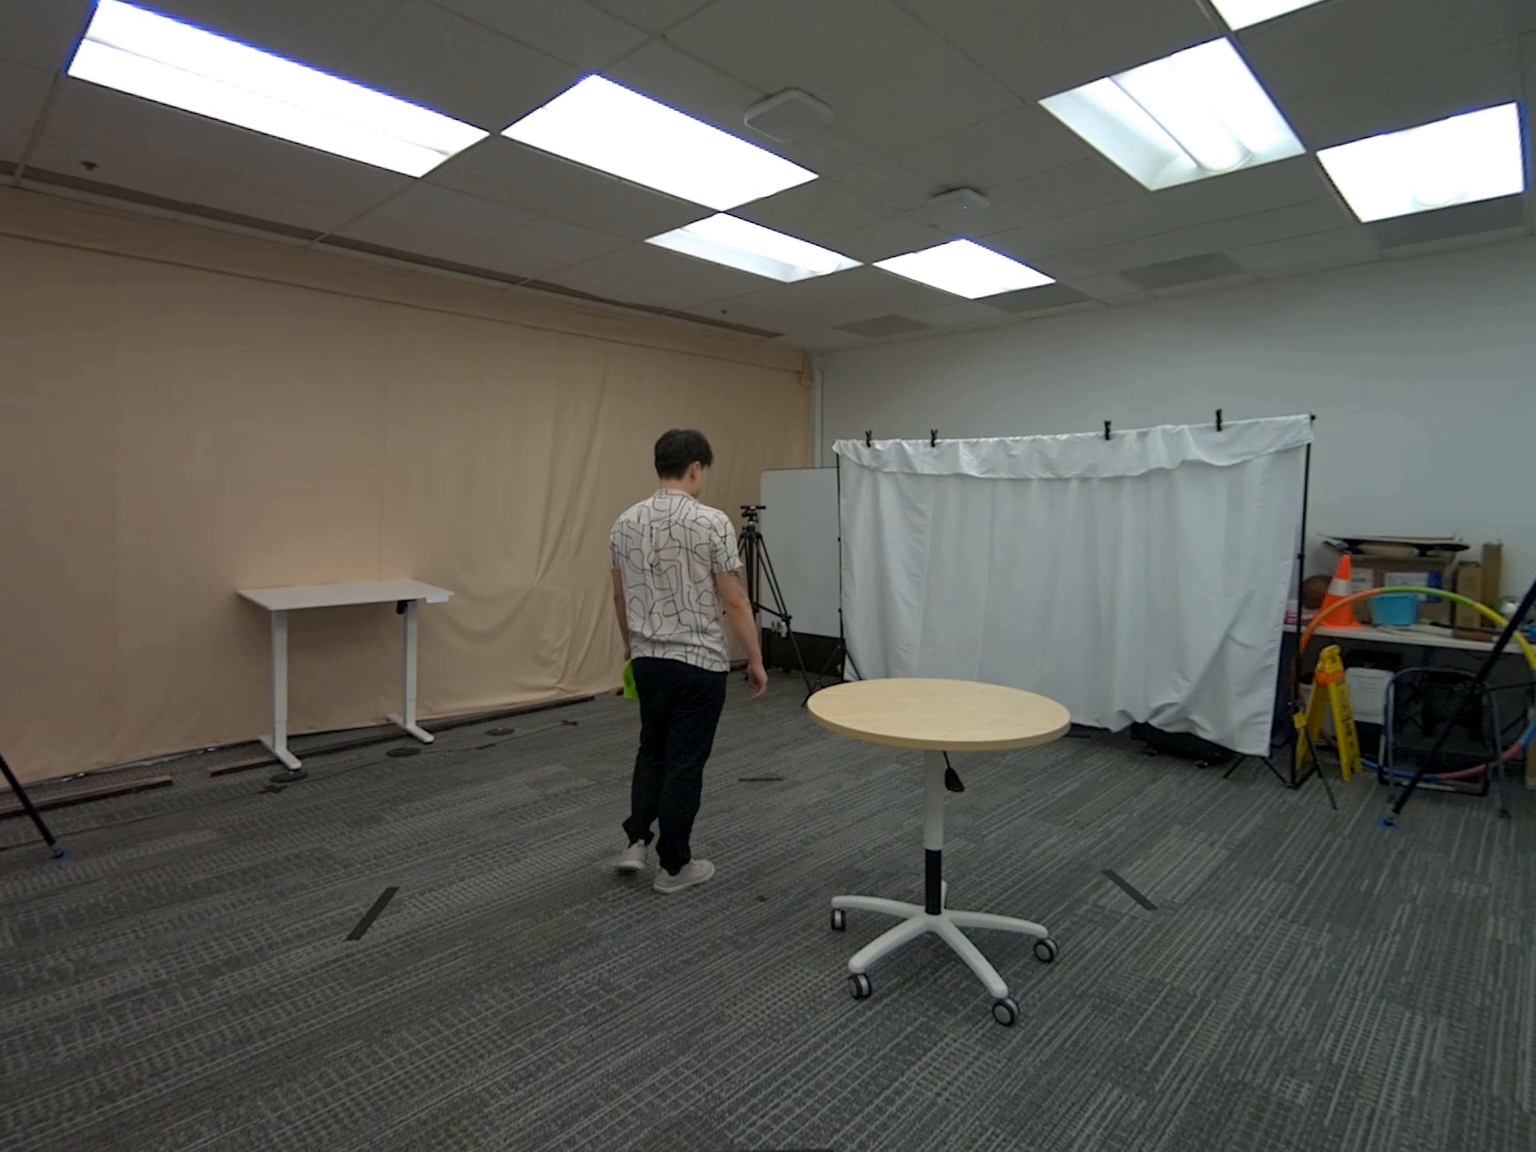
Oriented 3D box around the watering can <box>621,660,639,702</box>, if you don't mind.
[{"bbox_3d":[-0.491,0.417,3.383,0.269,0.177,0.101,8,-1,-43],"label":"watering can"}]
